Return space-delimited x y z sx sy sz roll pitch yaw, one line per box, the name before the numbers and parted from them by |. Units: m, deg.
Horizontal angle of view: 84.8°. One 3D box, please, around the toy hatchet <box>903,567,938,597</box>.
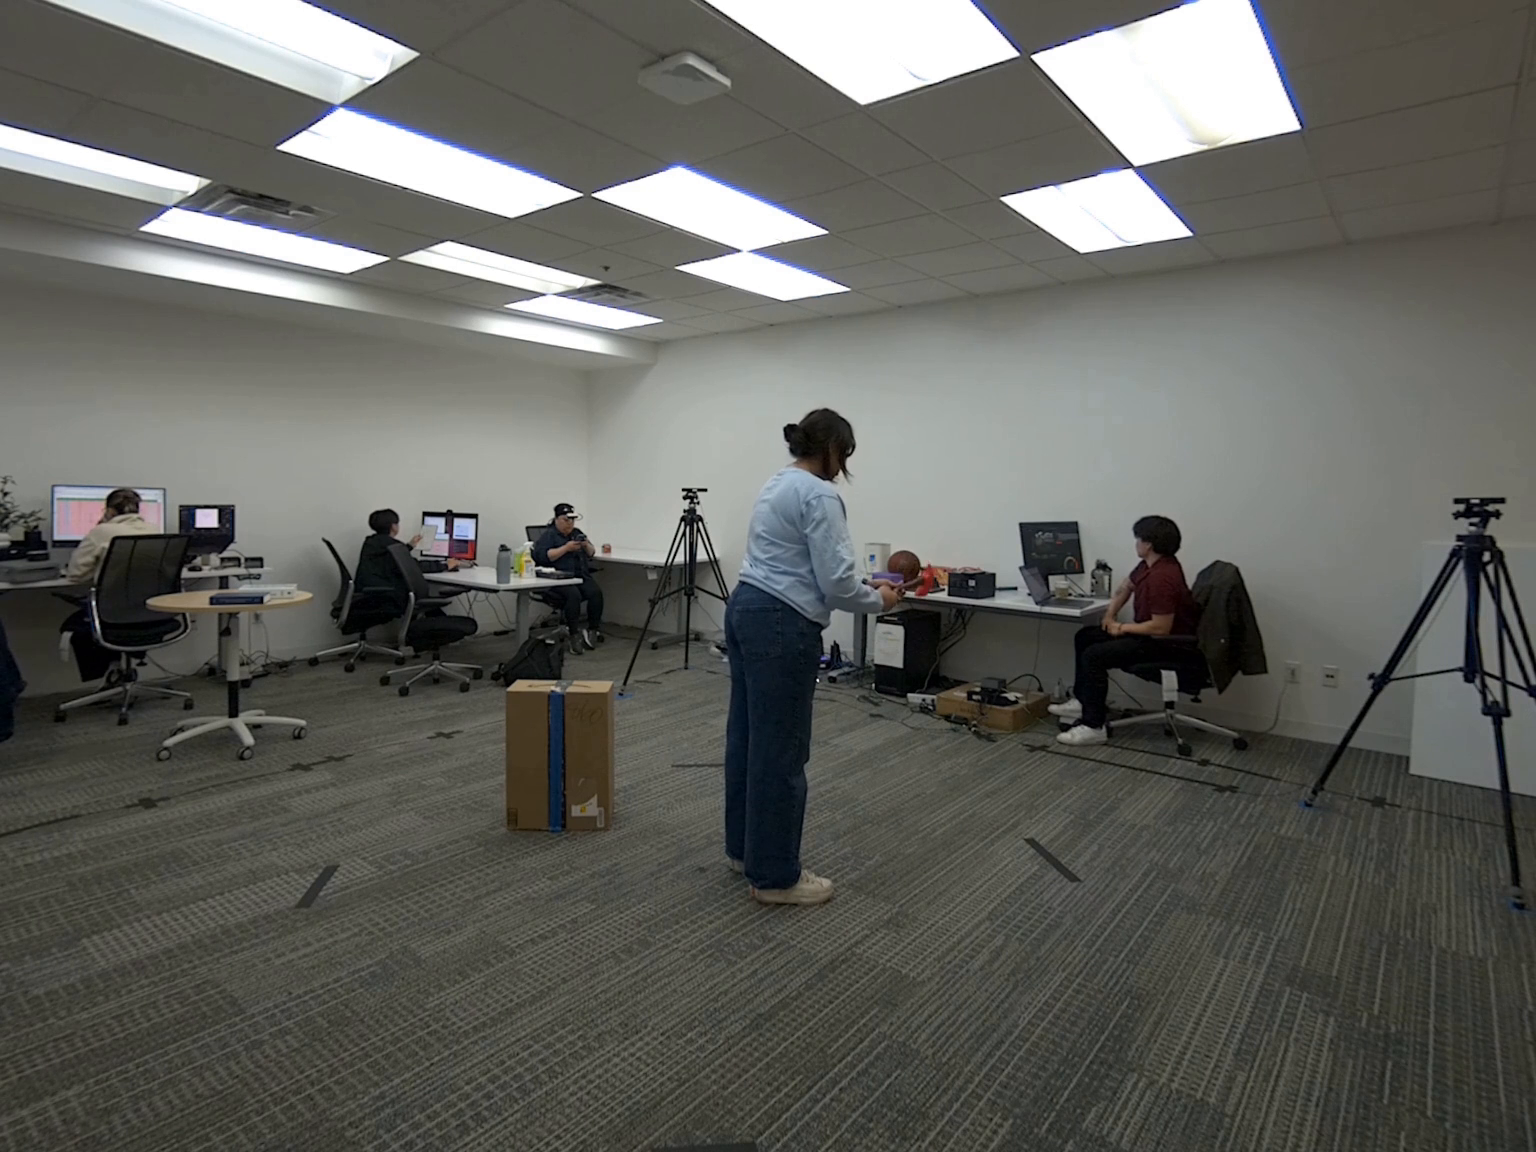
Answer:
toy hatchet | 0.475 0.067 3.065 0.269 0.126 0.031 -30 34 -8
